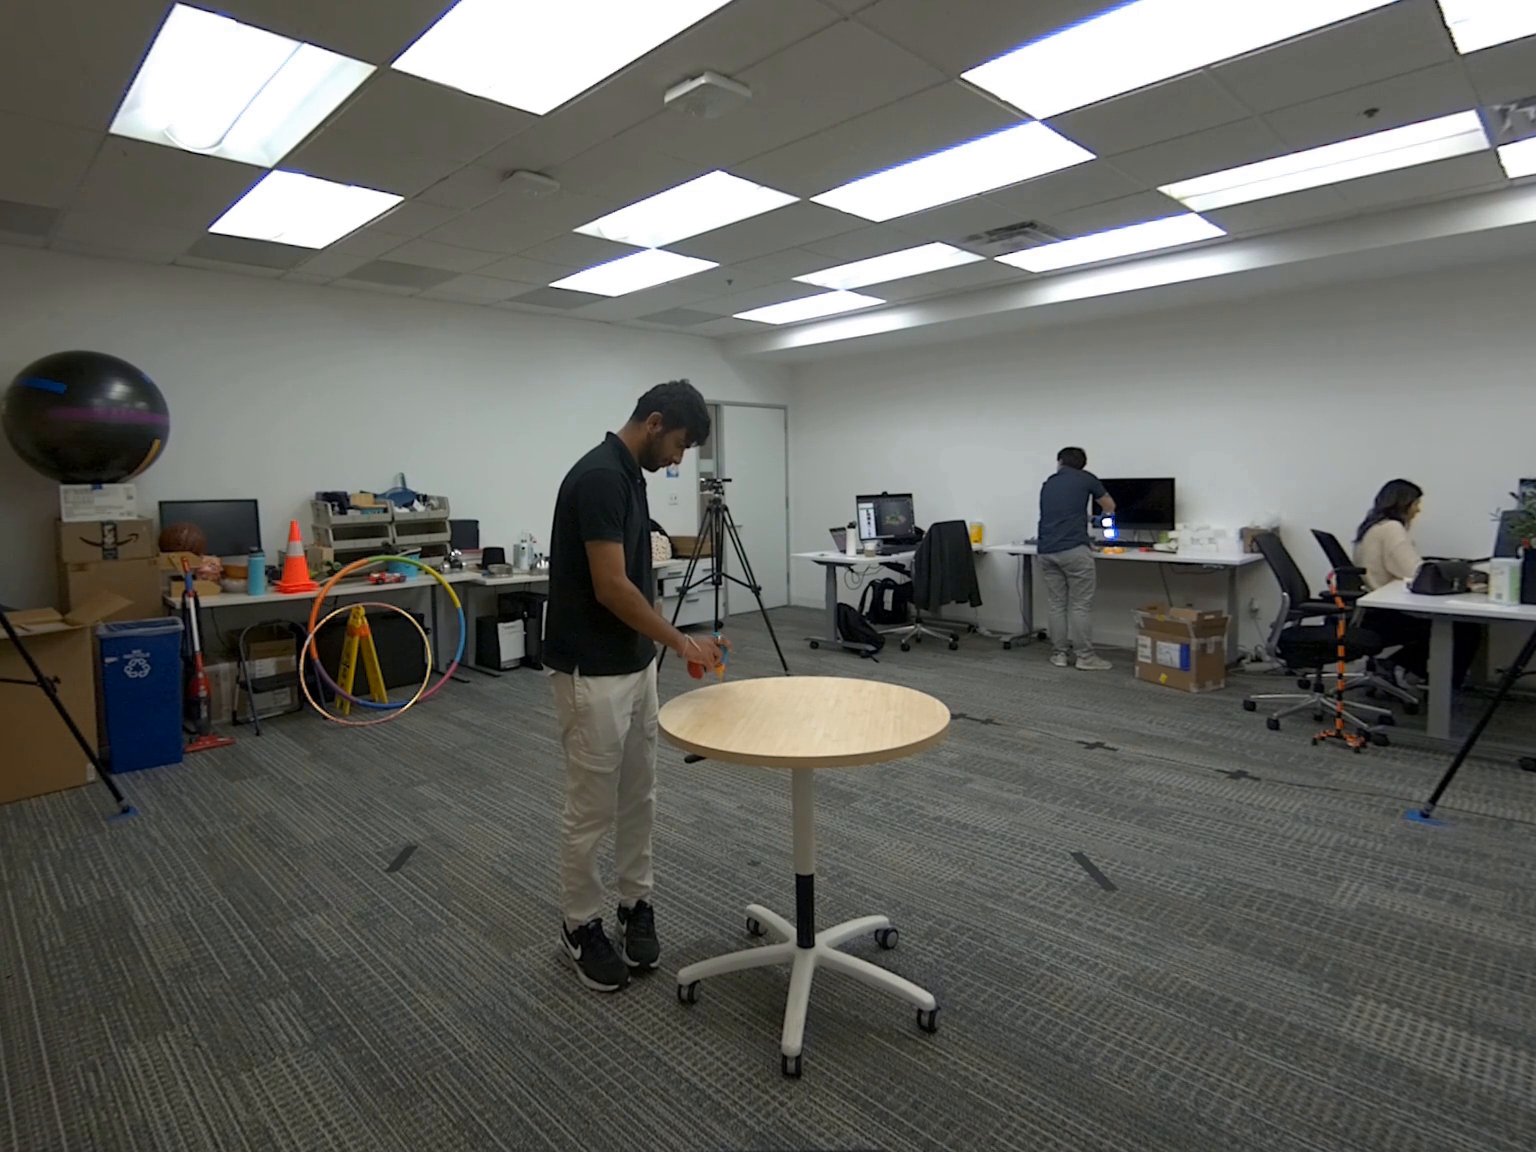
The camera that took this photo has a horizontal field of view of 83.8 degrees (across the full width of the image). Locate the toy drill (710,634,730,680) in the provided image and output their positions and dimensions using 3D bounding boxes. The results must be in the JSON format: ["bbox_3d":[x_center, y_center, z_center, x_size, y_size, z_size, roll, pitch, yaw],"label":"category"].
[{"bbox_3d":[-0.165,0.244,2.439,0.063,0.165,0.145,20,40,27],"label":"toy drill"}]
